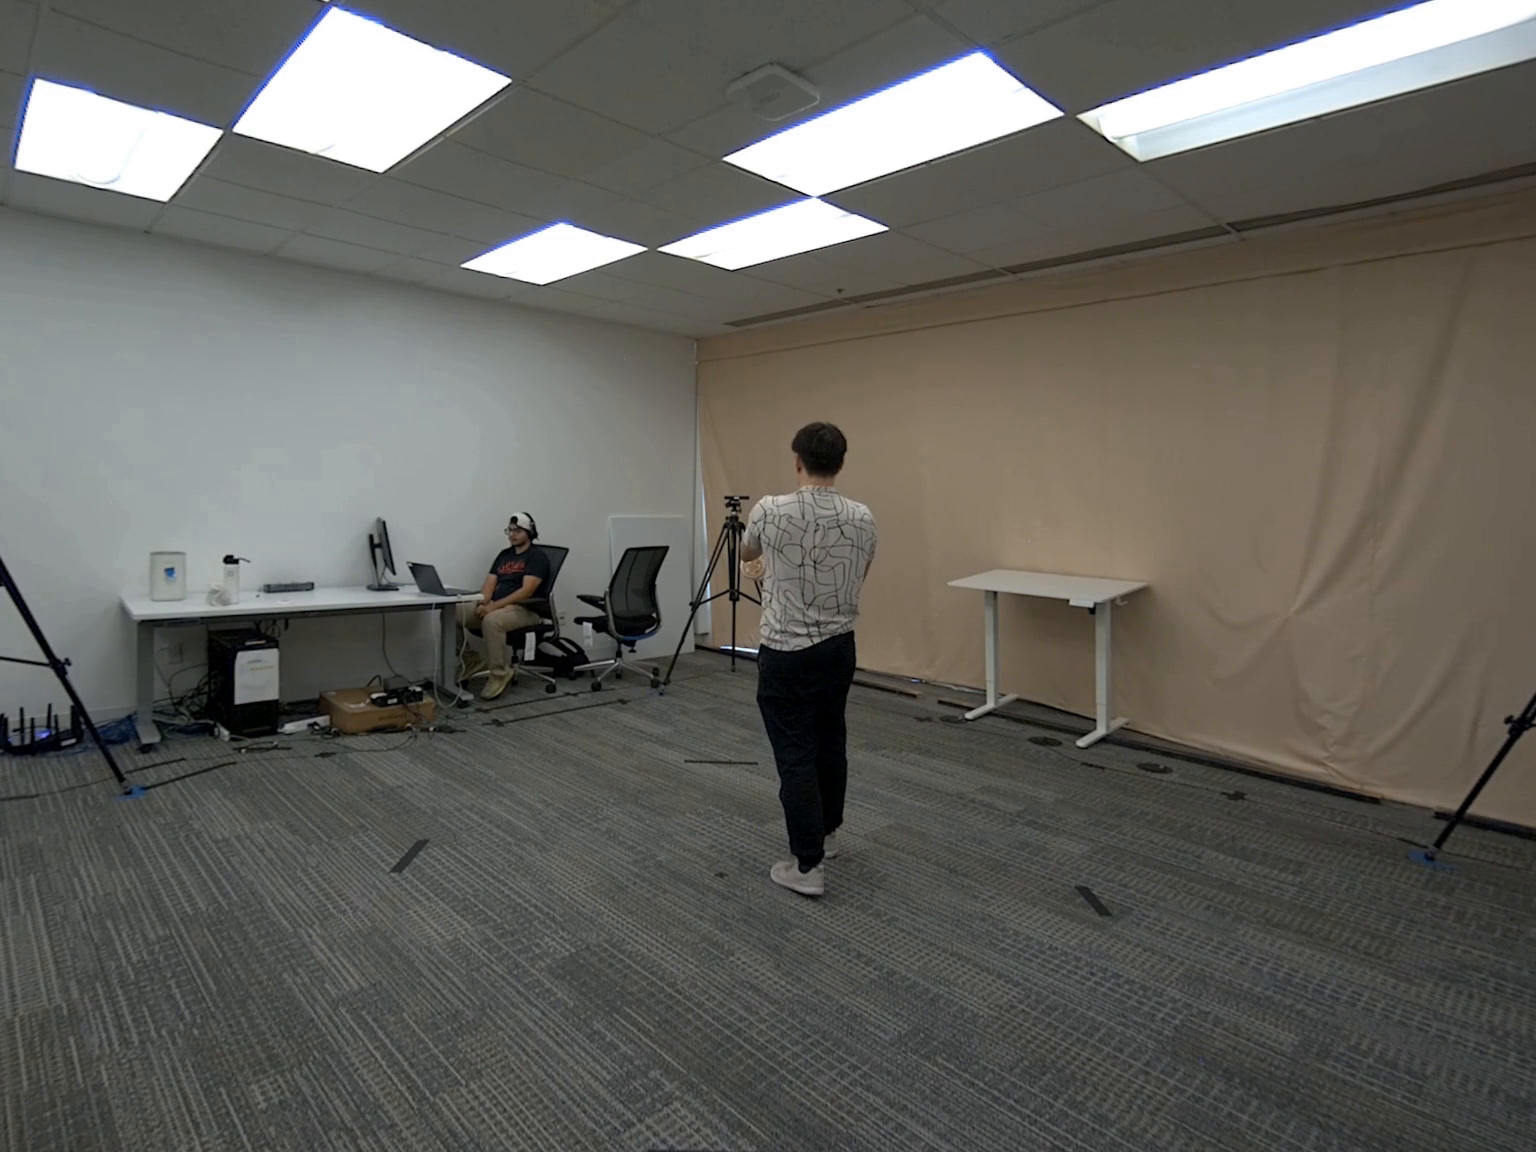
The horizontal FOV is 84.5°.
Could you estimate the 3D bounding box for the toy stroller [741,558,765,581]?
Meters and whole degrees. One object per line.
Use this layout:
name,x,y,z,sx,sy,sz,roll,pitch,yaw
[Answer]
toy stroller,0.123,-0.045,3.645,0.540,0.341,0.278,31,-4,9
